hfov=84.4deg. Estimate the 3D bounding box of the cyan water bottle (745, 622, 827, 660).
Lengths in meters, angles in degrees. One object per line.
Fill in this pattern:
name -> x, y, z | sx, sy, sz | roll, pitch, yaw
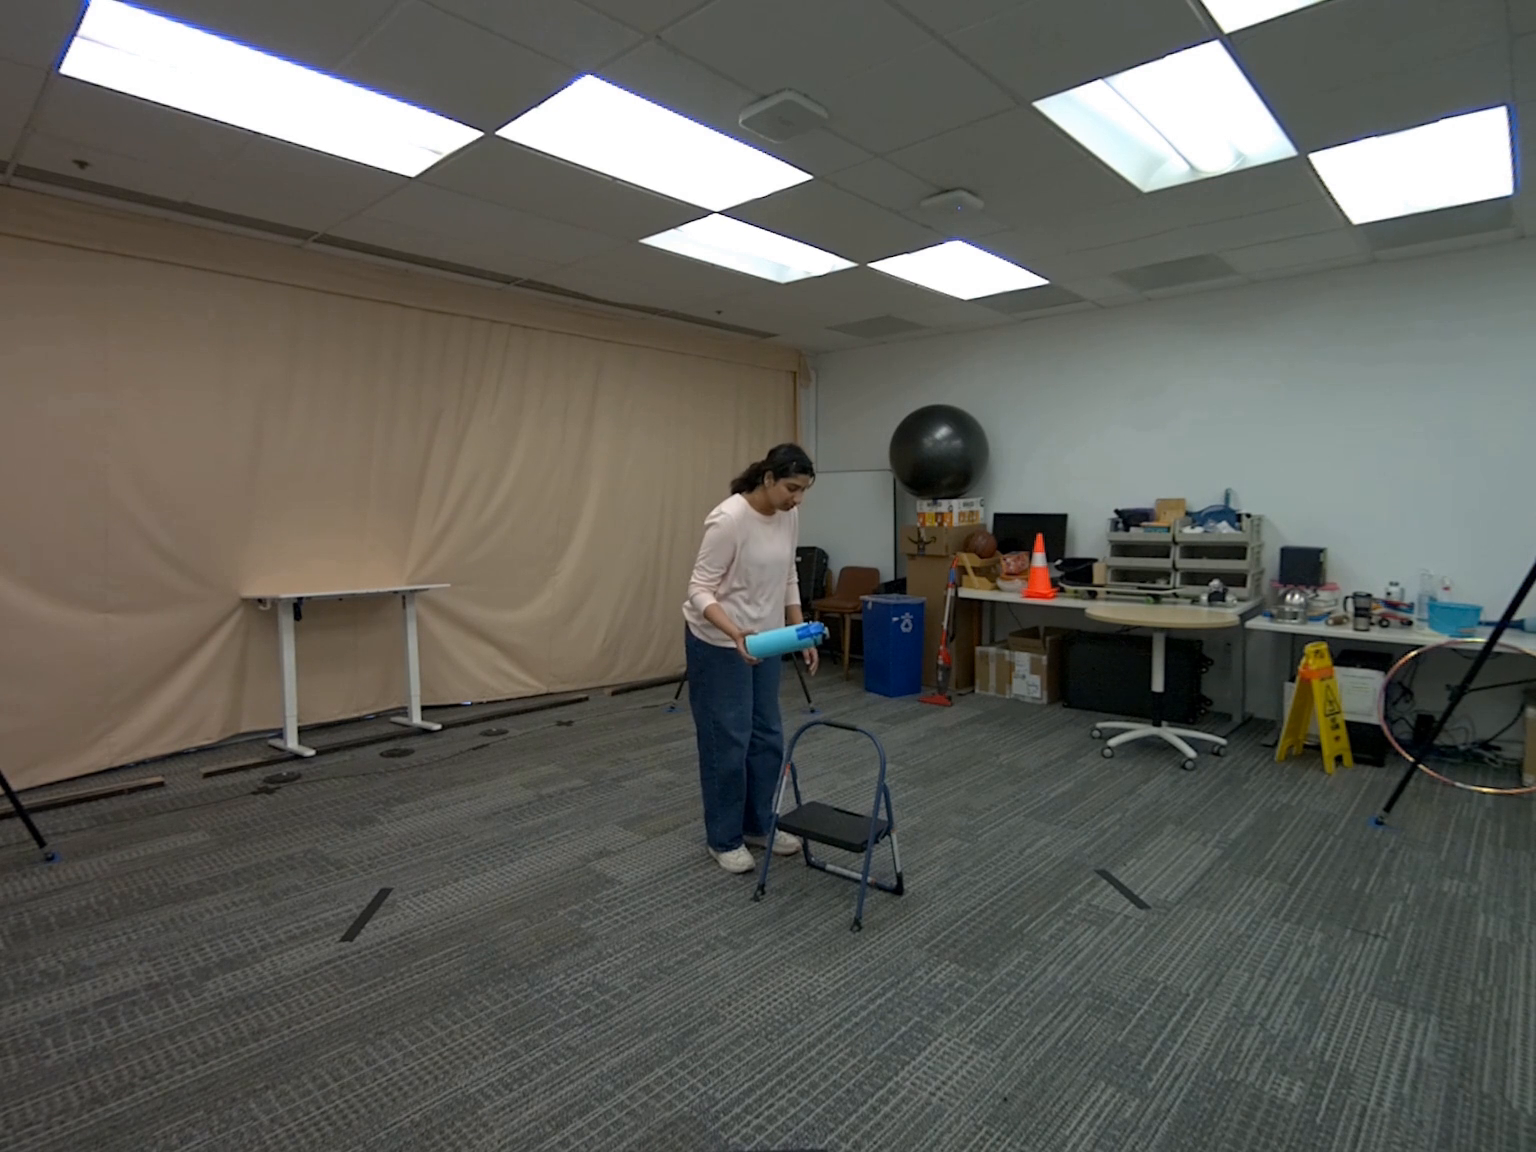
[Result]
cyan water bottle -> 0.077, 0.221, 2.913 | 0.285, 0.092, 0.092 | -13, 3, 6
